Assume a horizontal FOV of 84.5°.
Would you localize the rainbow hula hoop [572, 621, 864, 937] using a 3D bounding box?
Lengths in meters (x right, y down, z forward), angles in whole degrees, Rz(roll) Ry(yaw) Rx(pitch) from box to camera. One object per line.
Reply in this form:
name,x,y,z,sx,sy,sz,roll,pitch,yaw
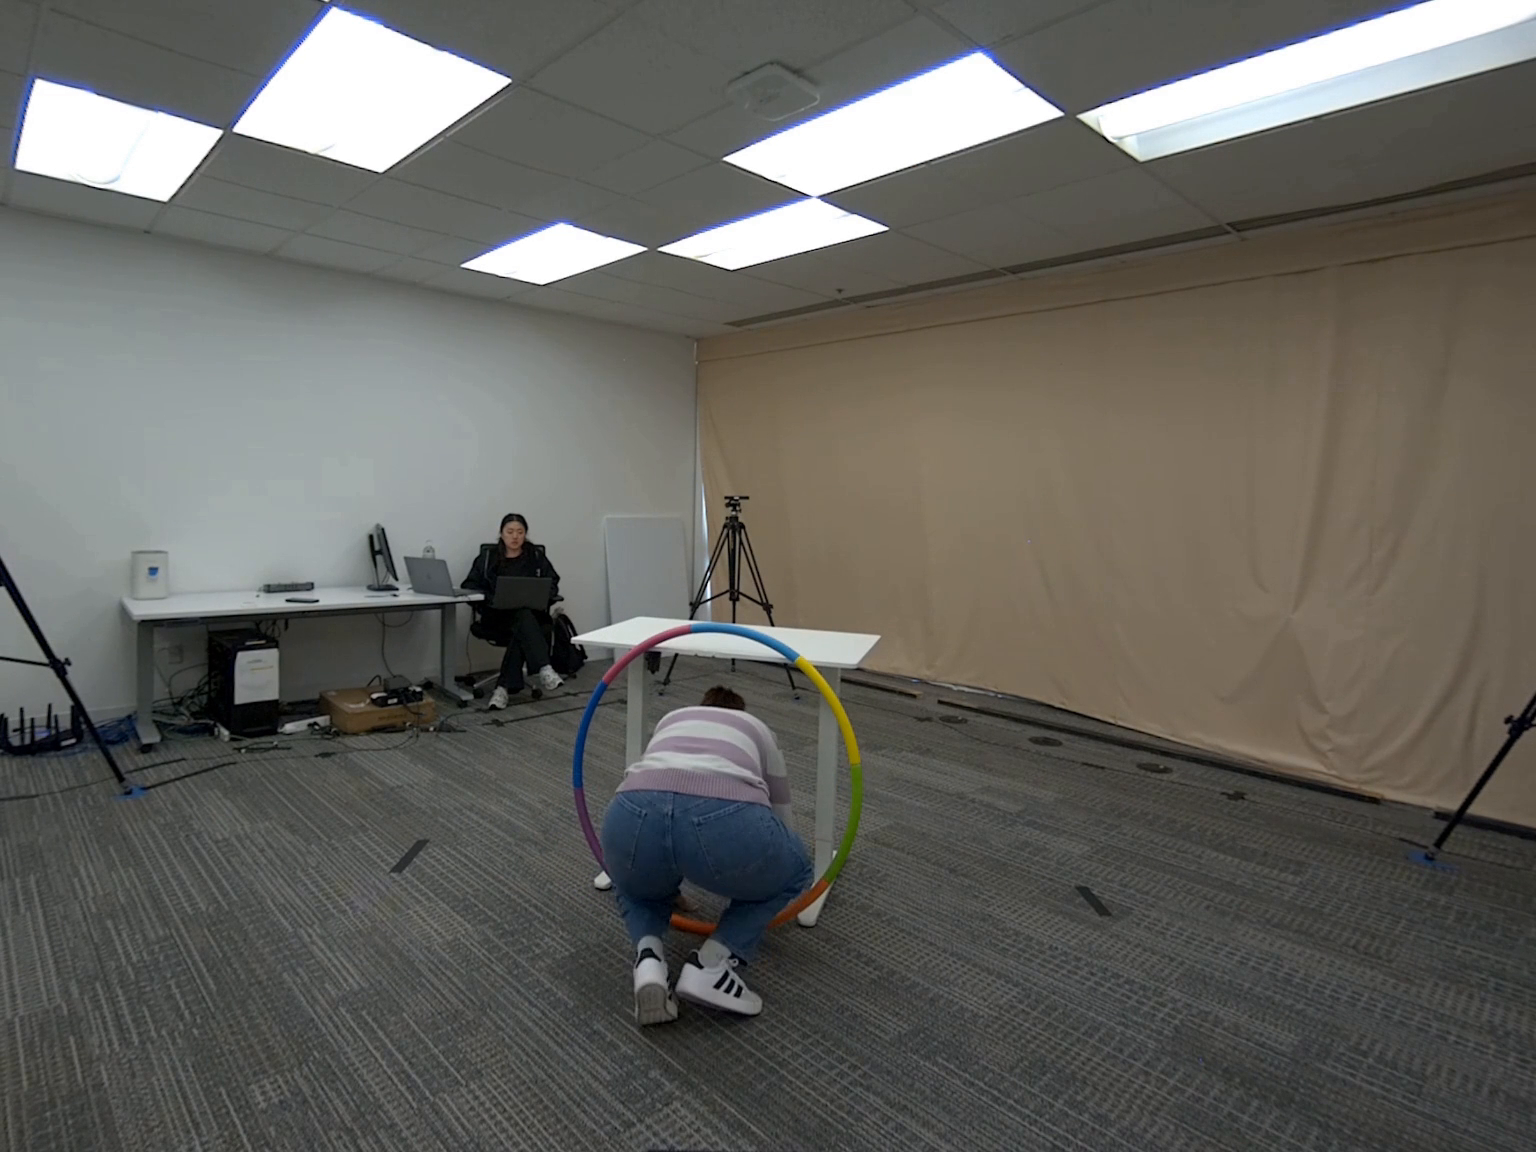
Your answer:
rainbow hula hoop,-0.196,0.655,2.717,0.992,0.981,0.035,3,-4,17
